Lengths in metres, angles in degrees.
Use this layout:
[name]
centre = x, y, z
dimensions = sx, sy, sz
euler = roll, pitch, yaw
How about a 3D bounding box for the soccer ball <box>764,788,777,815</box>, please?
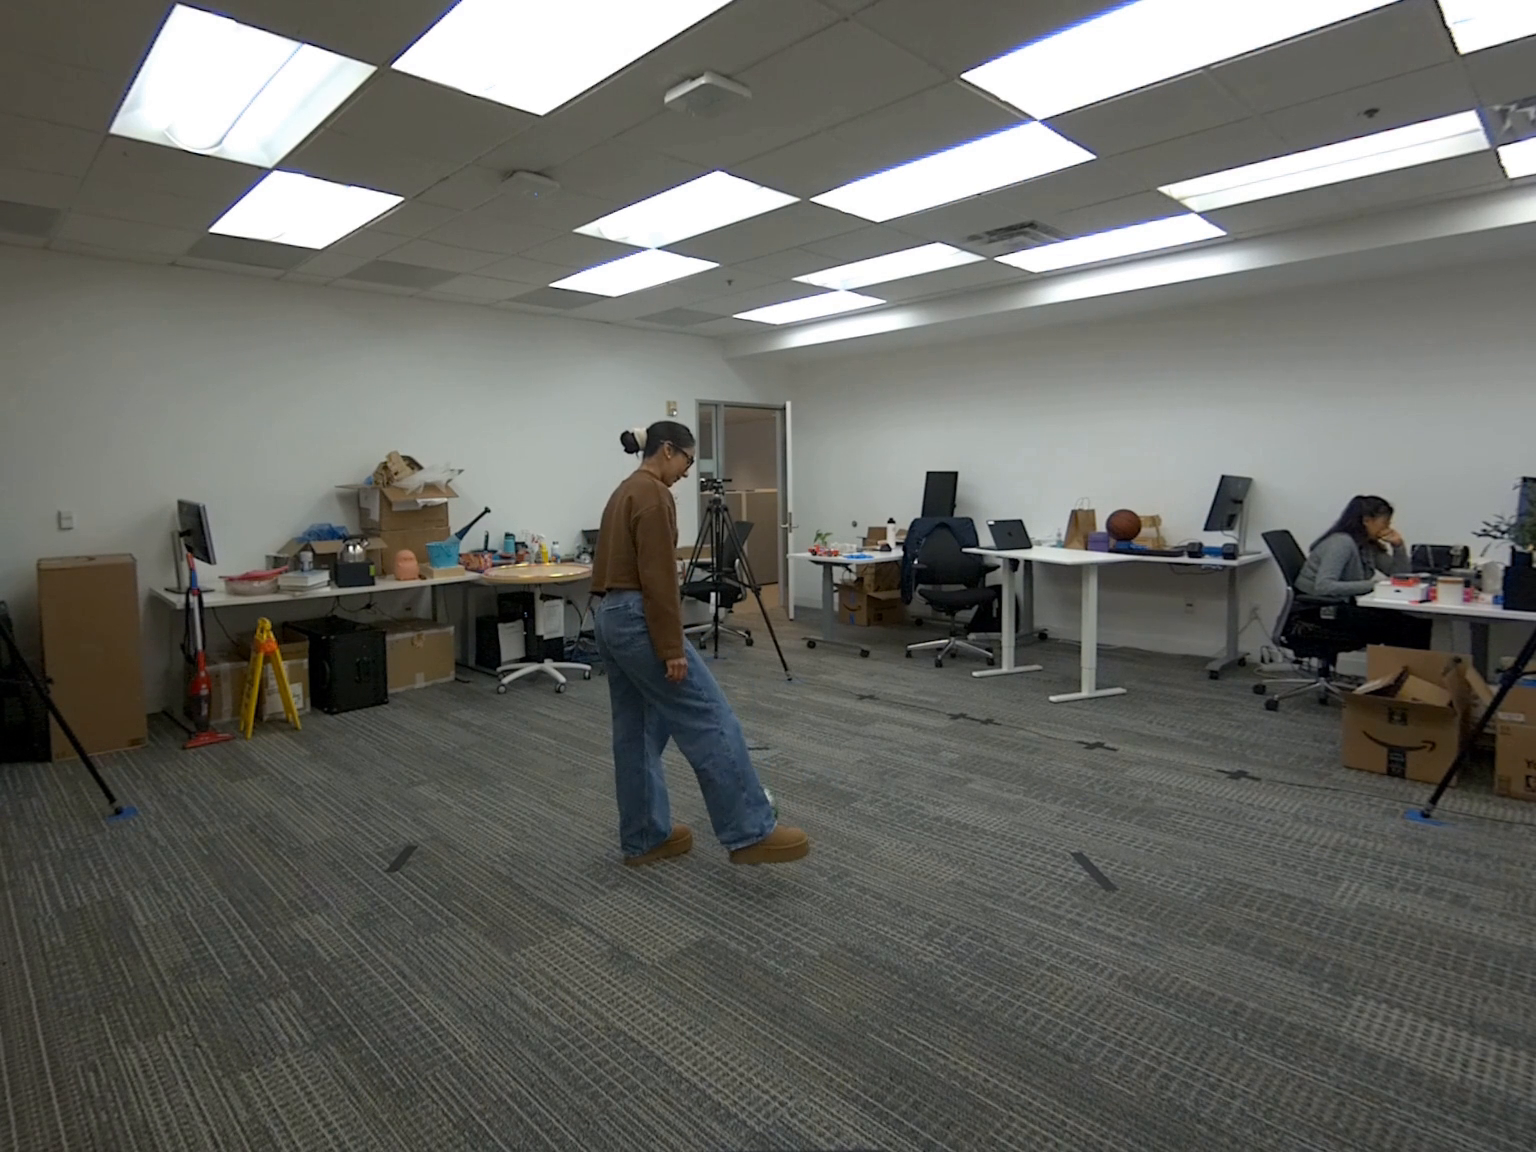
[soccer ball]
centre = -0.044, 0.922, 3.375
dimensions = 0.187, 0.187, 0.188
euler = -1, 5, -2
